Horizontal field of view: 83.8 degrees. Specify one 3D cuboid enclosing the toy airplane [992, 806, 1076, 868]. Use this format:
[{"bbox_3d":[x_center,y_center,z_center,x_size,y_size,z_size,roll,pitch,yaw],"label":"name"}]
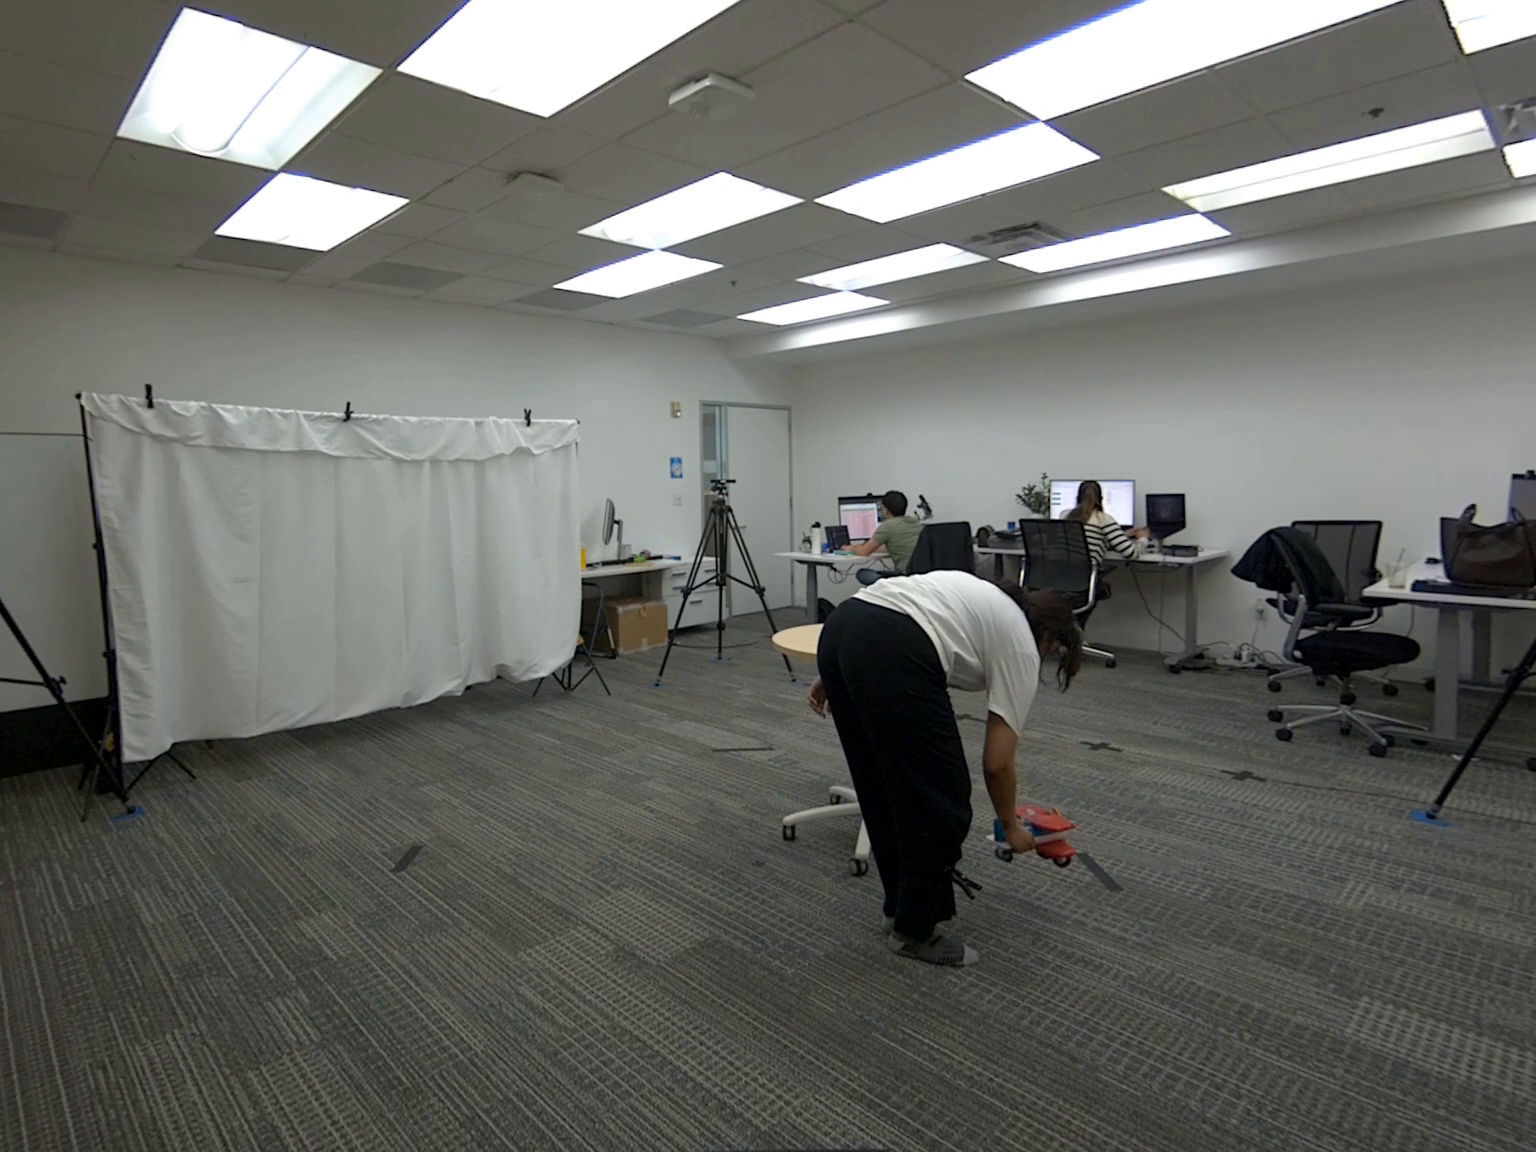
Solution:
[{"bbox_3d":[0.850,0.826,2.683,0.251,0.157,0.259,10,-4,-43],"label":"toy airplane"}]
